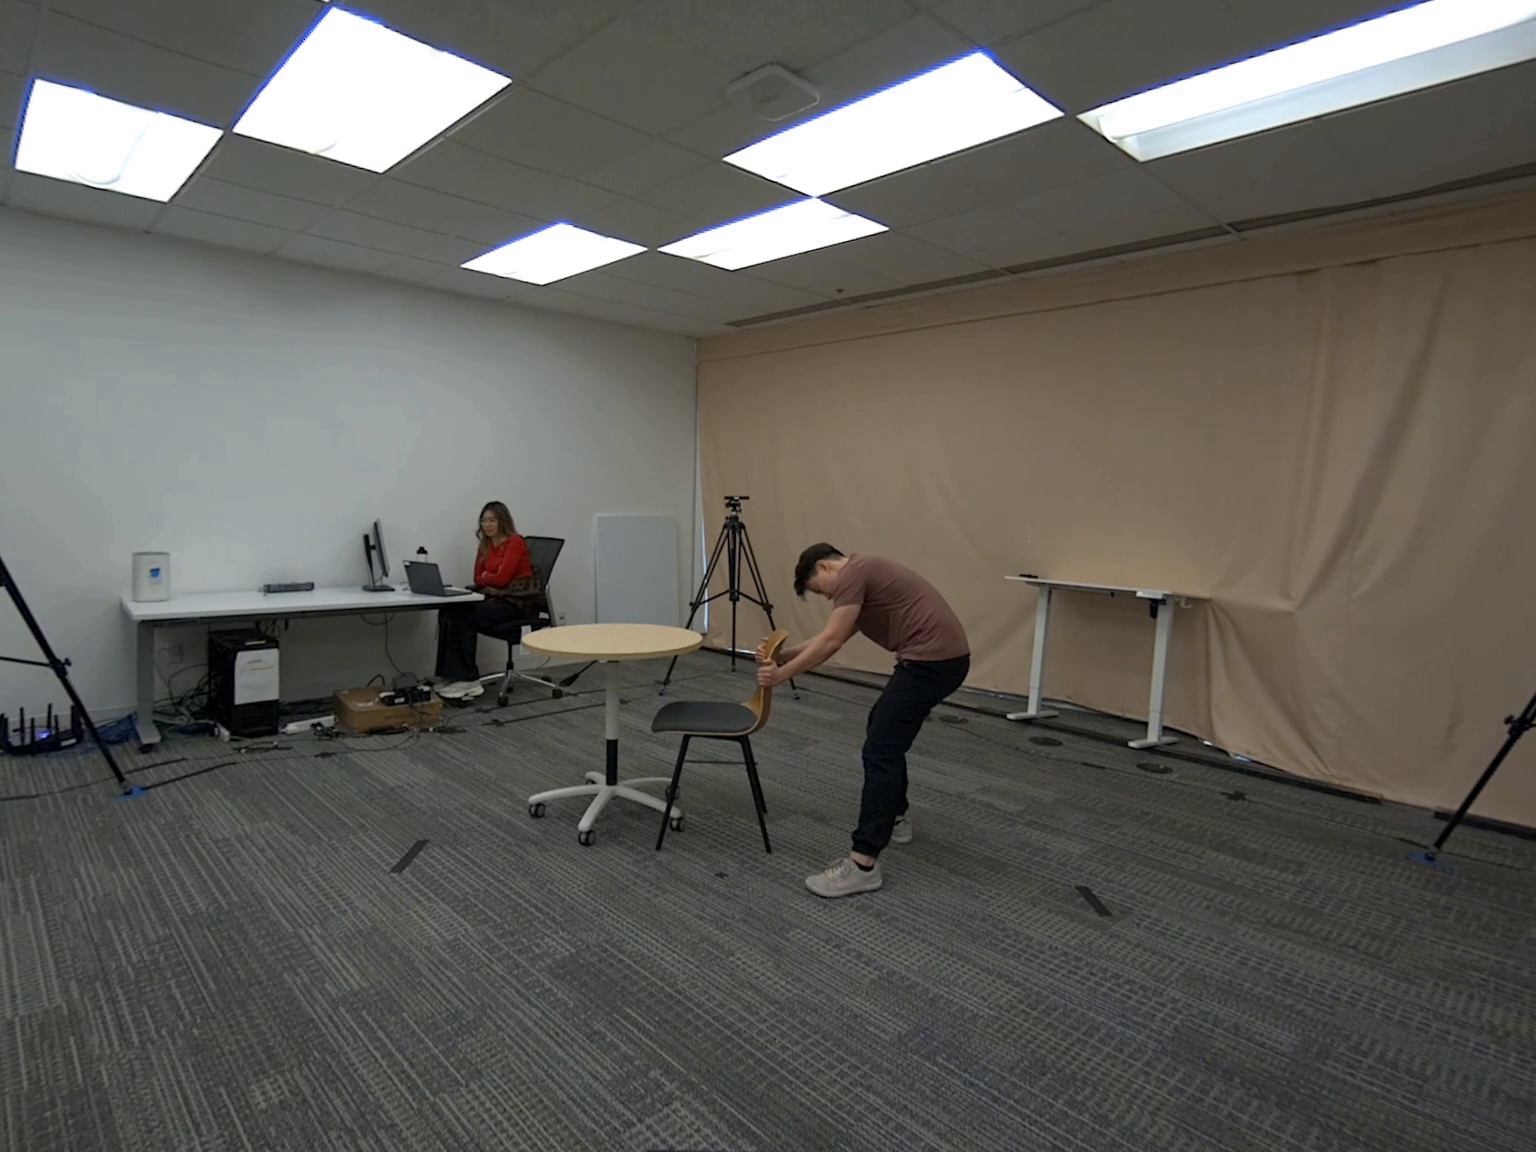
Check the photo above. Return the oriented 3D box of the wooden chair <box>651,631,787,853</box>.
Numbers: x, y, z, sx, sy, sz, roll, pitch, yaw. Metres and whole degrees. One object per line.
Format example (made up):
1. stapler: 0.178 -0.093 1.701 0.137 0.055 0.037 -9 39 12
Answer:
1. wooden chair: -0.219 0.638 3.480 0.522 0.875 0.480 5 4 -2
